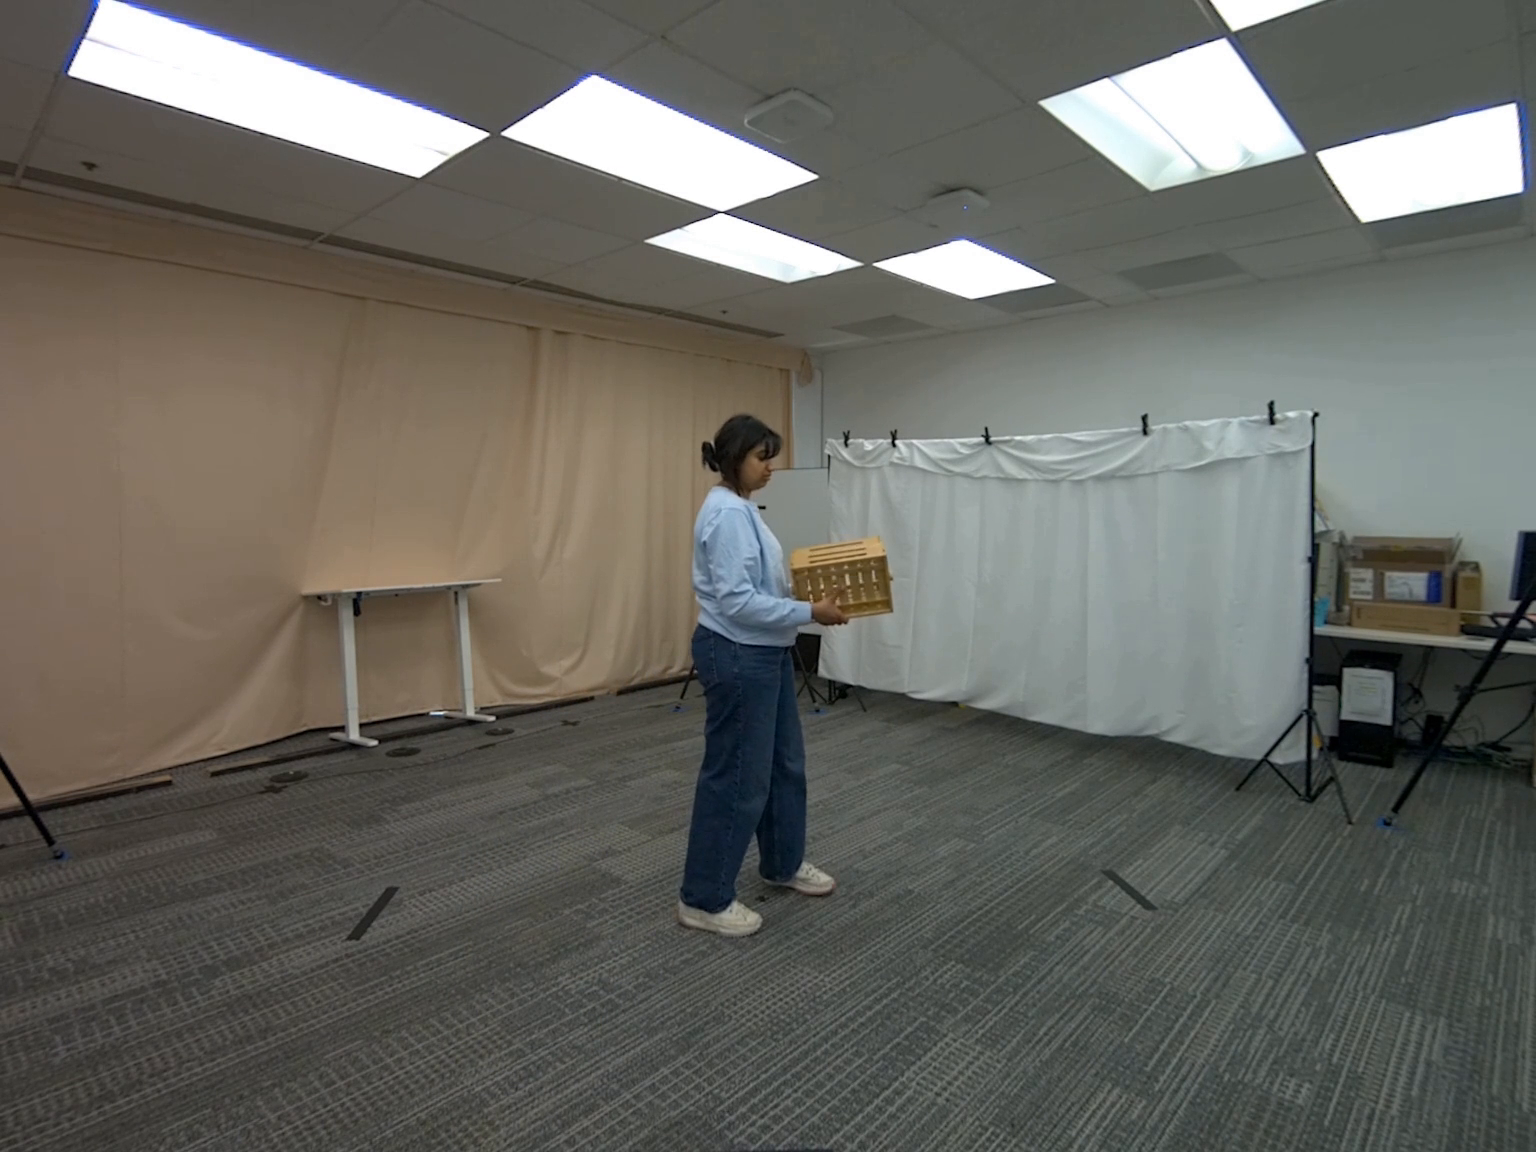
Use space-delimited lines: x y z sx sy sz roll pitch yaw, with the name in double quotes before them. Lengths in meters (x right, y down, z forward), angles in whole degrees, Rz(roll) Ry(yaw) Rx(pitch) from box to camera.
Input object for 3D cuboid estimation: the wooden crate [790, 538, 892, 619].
"wooden crate" 0.247 -0.017 2.798 0.327 0.295 0.277 -8 34 7
